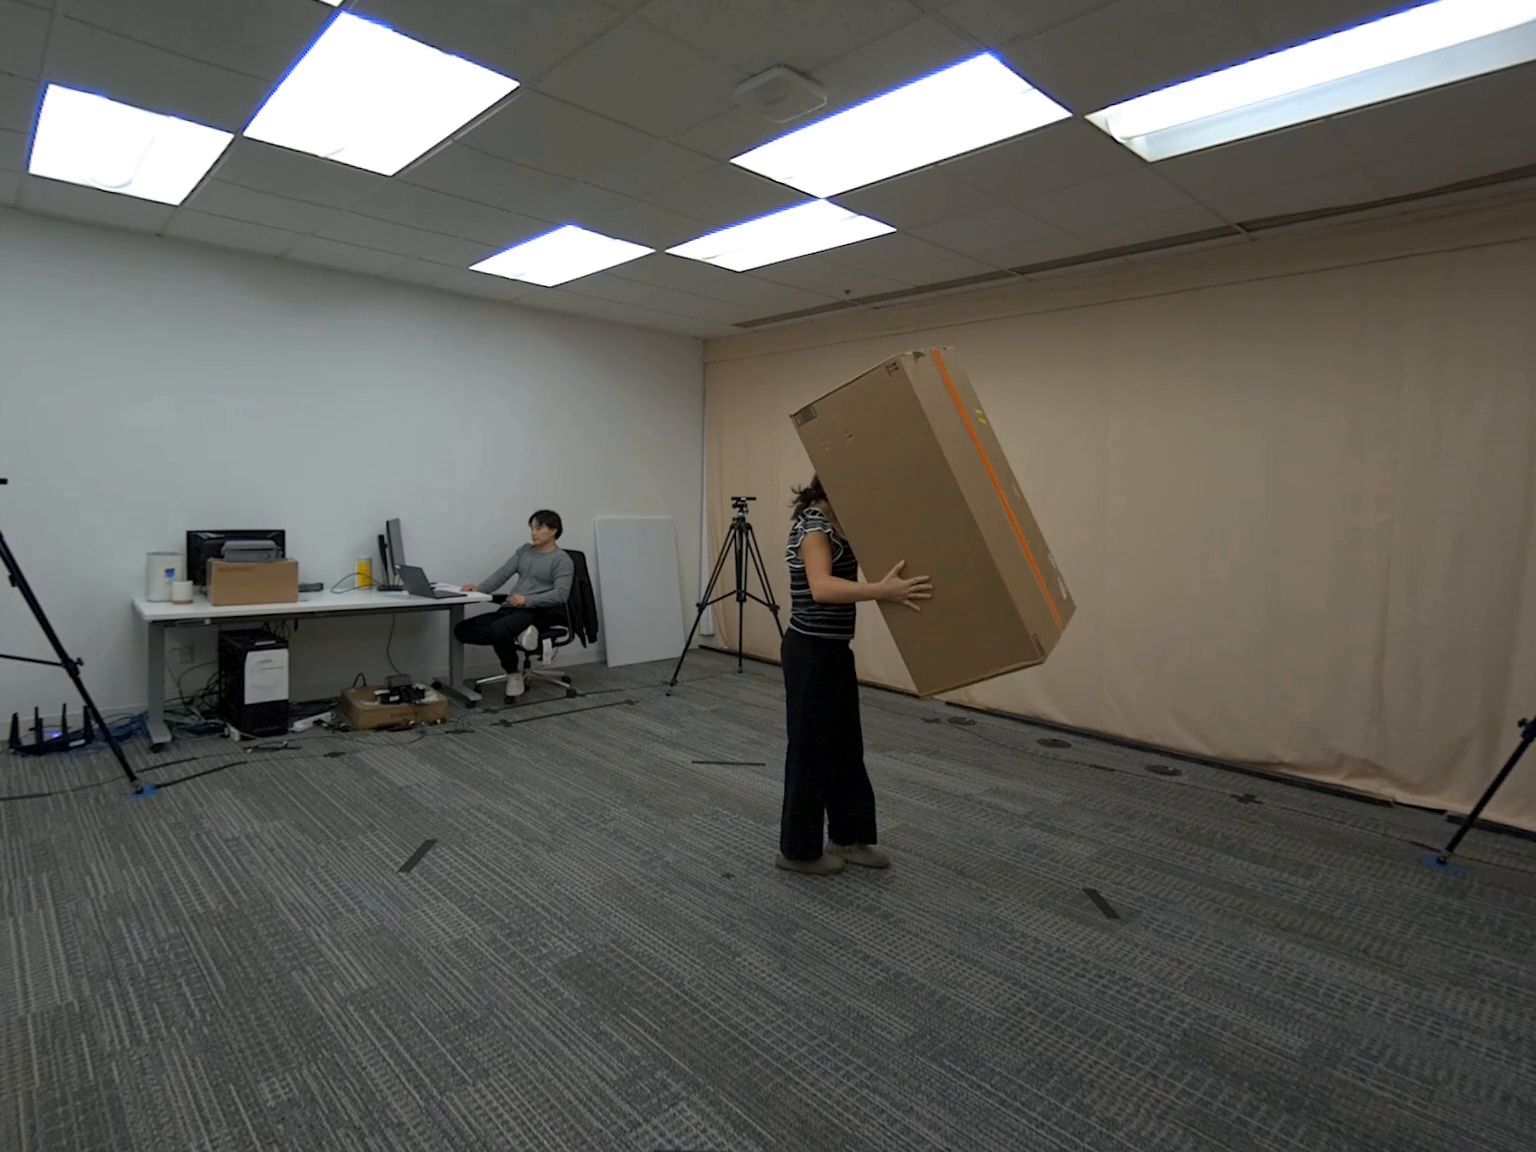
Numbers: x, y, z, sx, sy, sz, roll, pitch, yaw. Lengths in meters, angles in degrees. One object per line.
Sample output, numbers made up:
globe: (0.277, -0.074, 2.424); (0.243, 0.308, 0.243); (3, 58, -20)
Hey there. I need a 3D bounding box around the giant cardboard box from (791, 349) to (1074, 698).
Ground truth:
giant cardboard box: (0.572, -0.200, 2.856); (0.431, 1.027, 0.571); (-25, 0, 33)
